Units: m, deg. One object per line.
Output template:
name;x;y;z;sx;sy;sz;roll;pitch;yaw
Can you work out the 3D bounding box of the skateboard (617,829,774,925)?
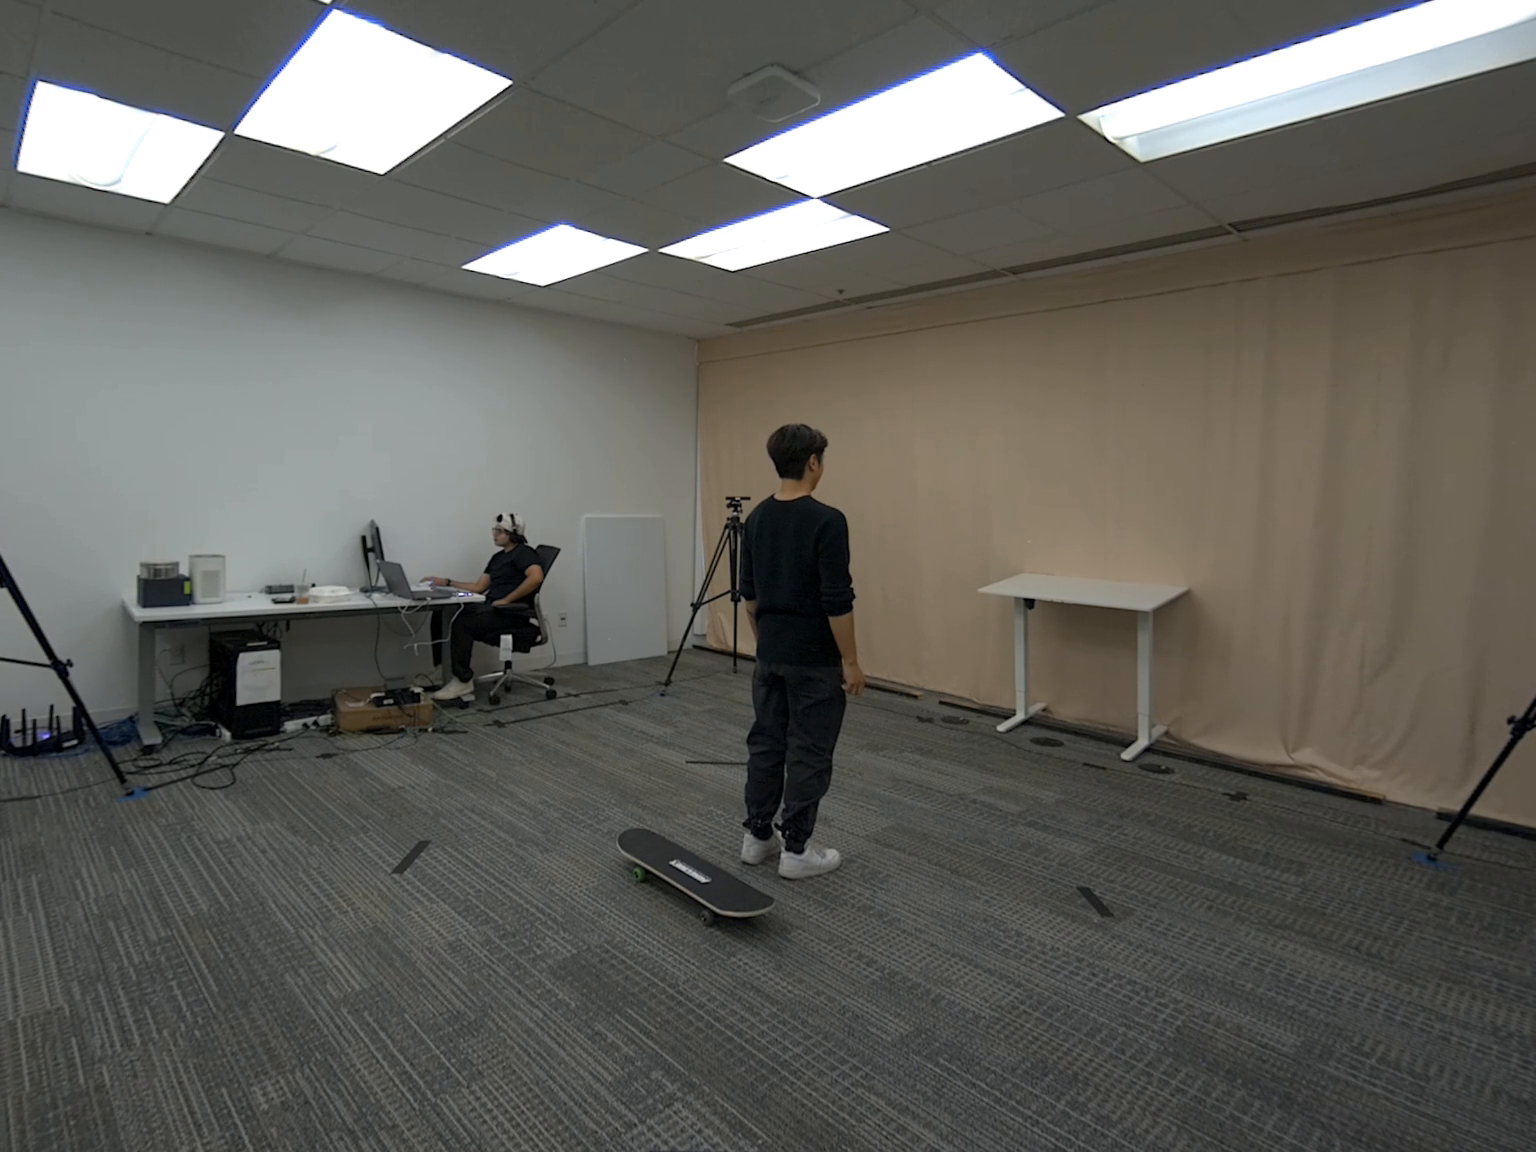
skateboard;-0.283;1.061;2.946;0.189;0.110;0.806;-4;7;-41
